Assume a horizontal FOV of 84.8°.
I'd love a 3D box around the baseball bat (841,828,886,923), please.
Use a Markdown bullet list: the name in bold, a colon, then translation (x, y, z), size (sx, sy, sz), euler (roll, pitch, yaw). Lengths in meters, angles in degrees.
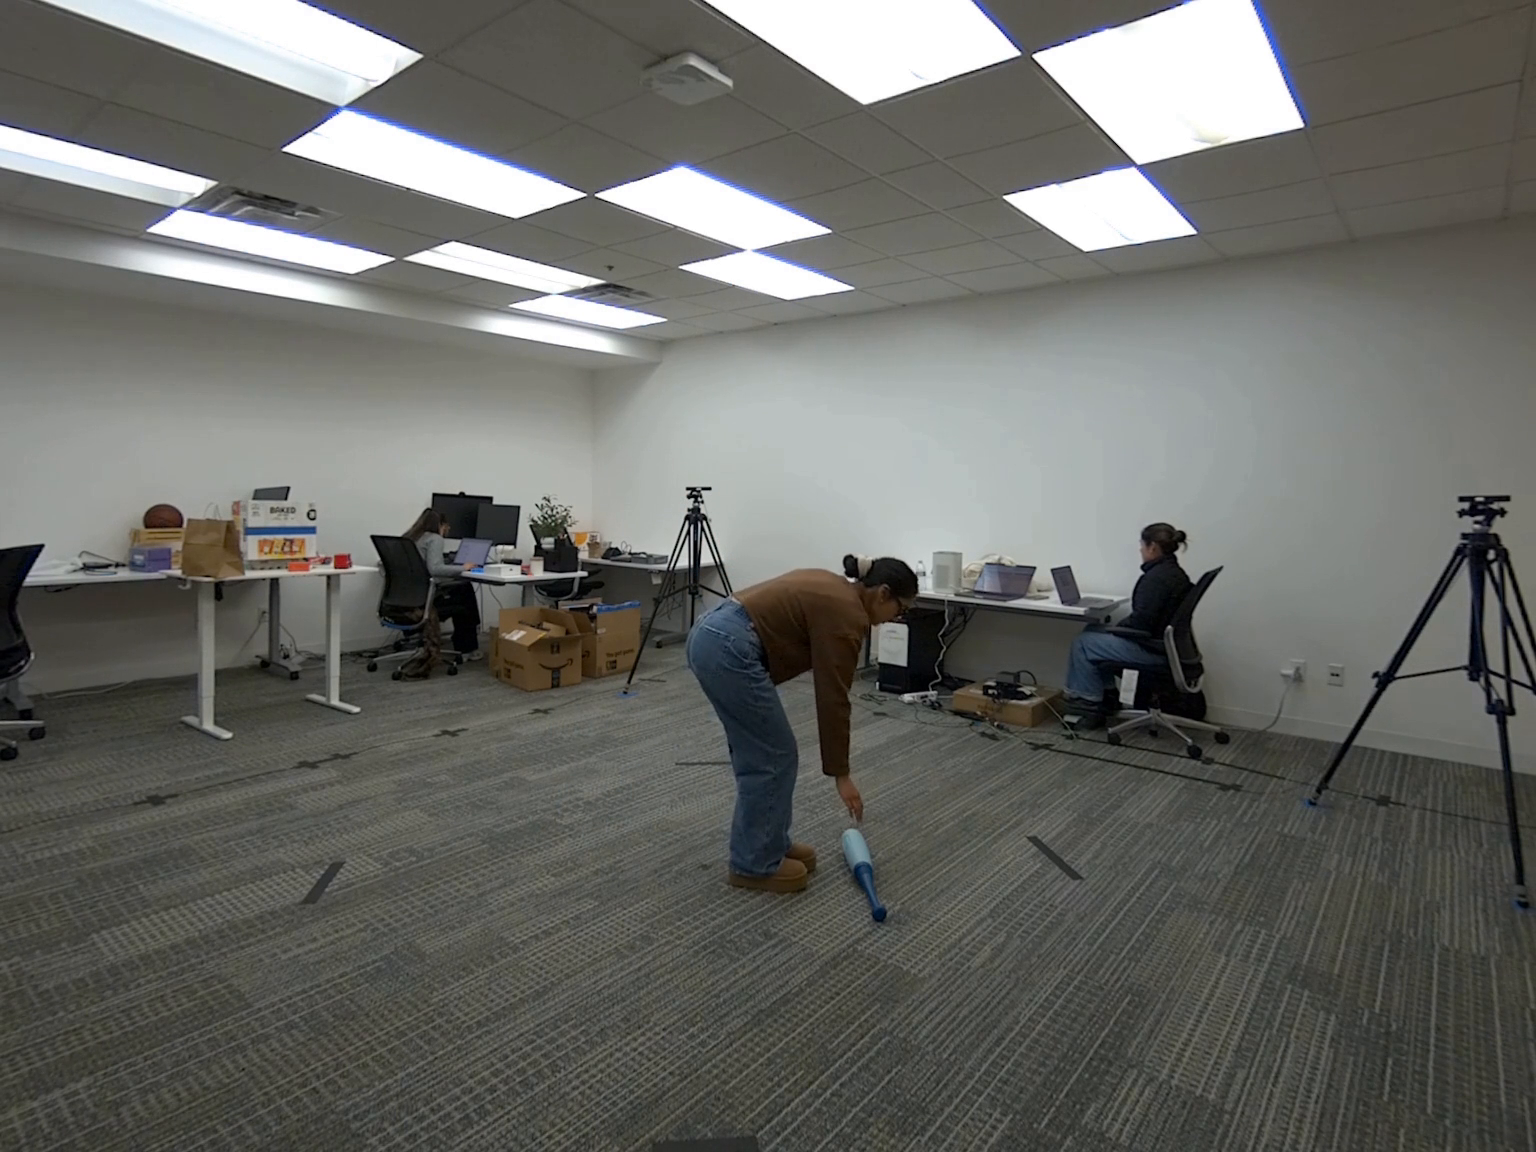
- **baseball bat**: translation (0.332, 1.055, 3.006), size (0.089, 0.088, 0.549), euler (0, 9, -5)
